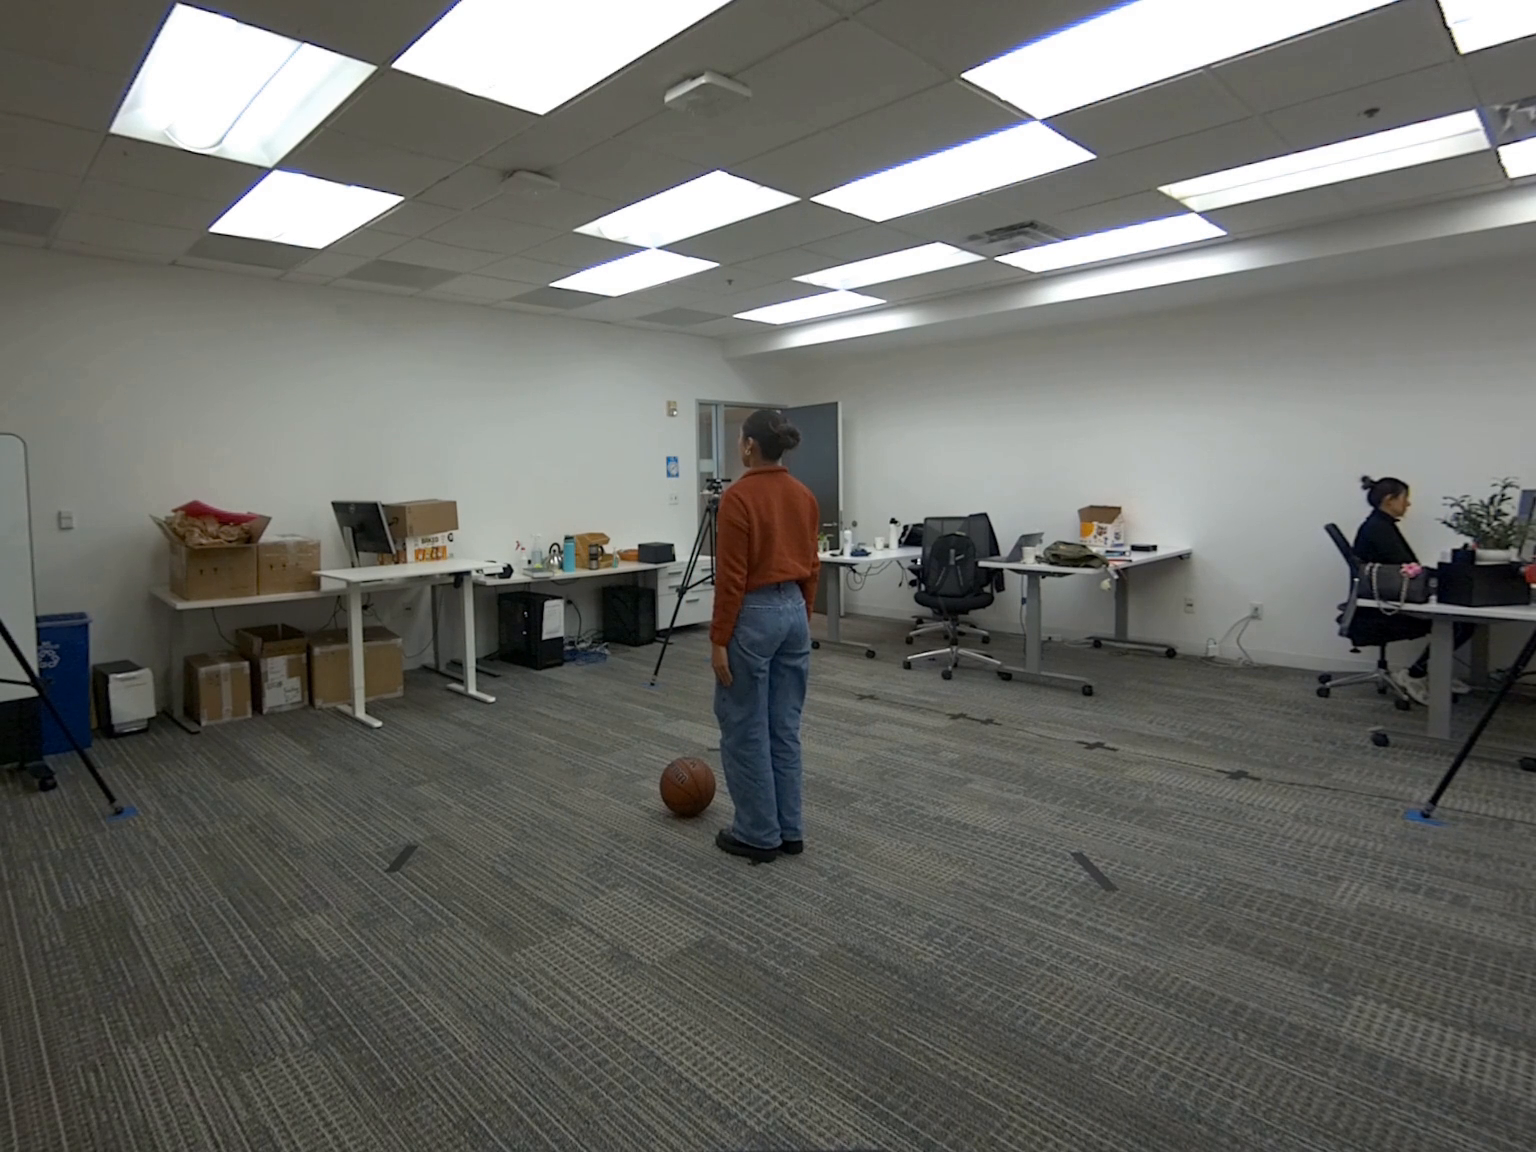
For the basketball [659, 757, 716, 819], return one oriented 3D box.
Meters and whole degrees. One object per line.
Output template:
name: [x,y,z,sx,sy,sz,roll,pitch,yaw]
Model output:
basketball: [-0.336,0.880,3.573,0.236,0.235,0.237,-1,5,-2]
